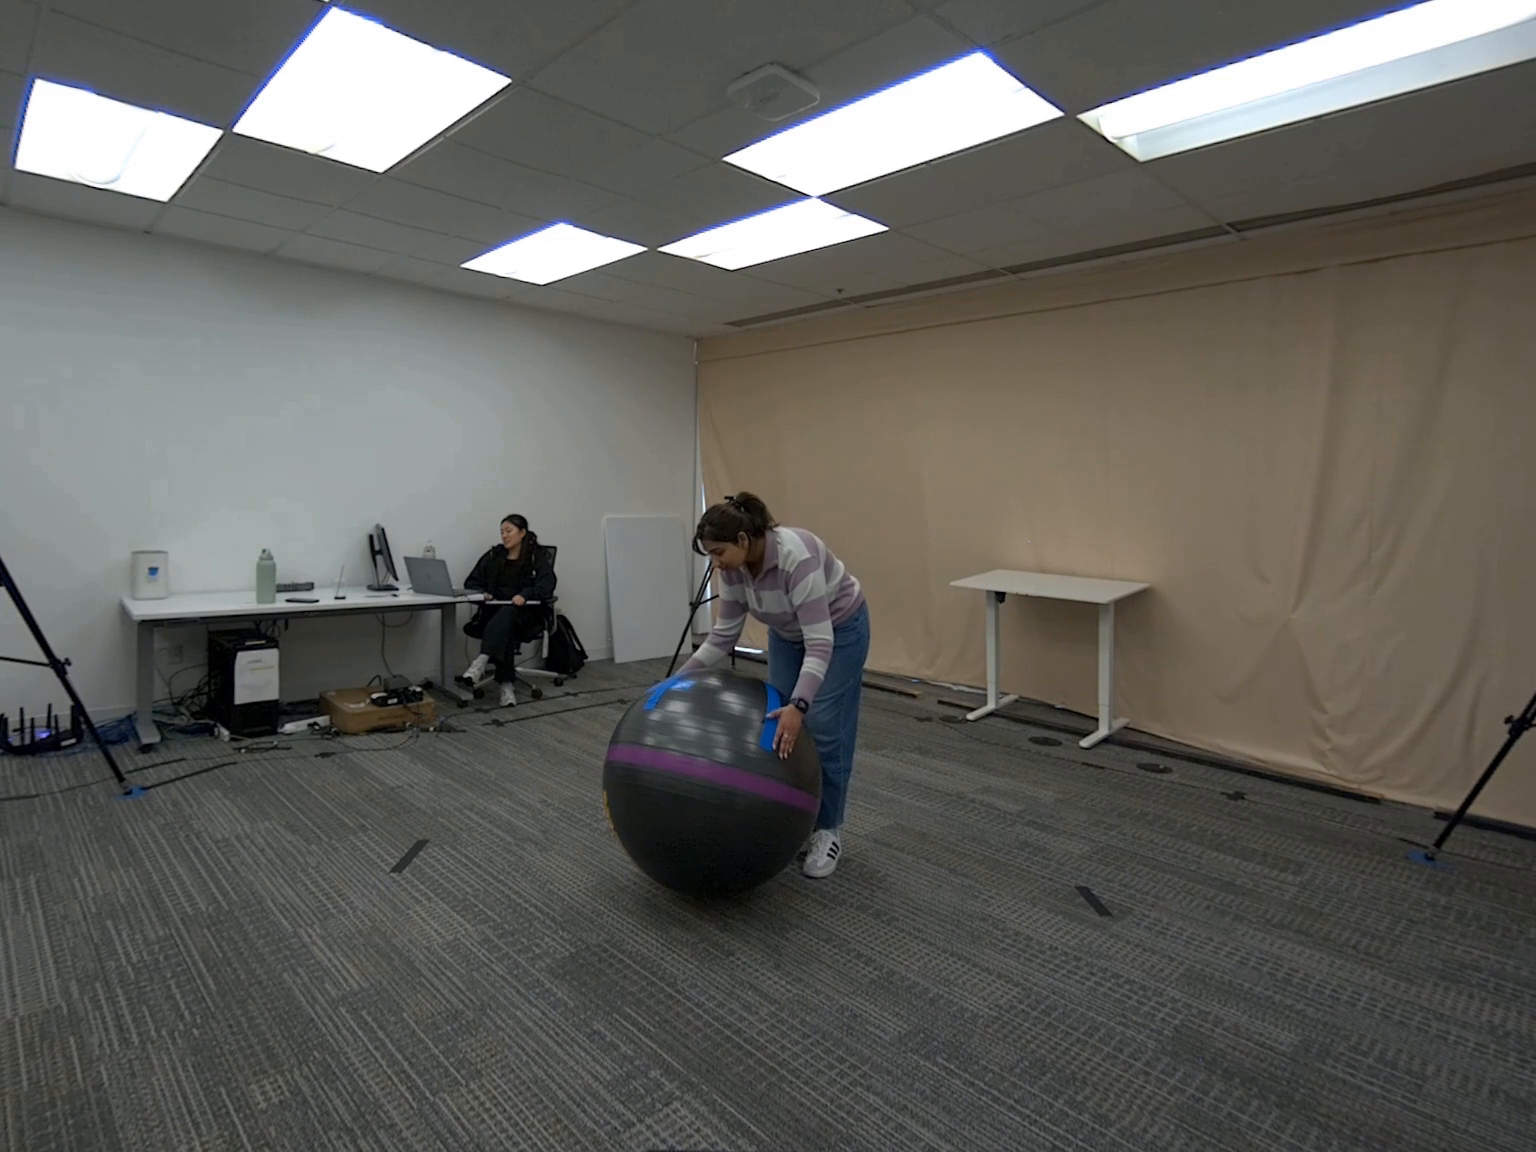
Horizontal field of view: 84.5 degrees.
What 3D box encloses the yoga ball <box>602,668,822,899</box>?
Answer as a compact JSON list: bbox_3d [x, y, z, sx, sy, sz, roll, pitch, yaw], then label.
[{"bbox_3d":[-0.205,0.716,2.927,0.757,0.756,0.761,1,4,-1],"label":"yoga ball"}]
